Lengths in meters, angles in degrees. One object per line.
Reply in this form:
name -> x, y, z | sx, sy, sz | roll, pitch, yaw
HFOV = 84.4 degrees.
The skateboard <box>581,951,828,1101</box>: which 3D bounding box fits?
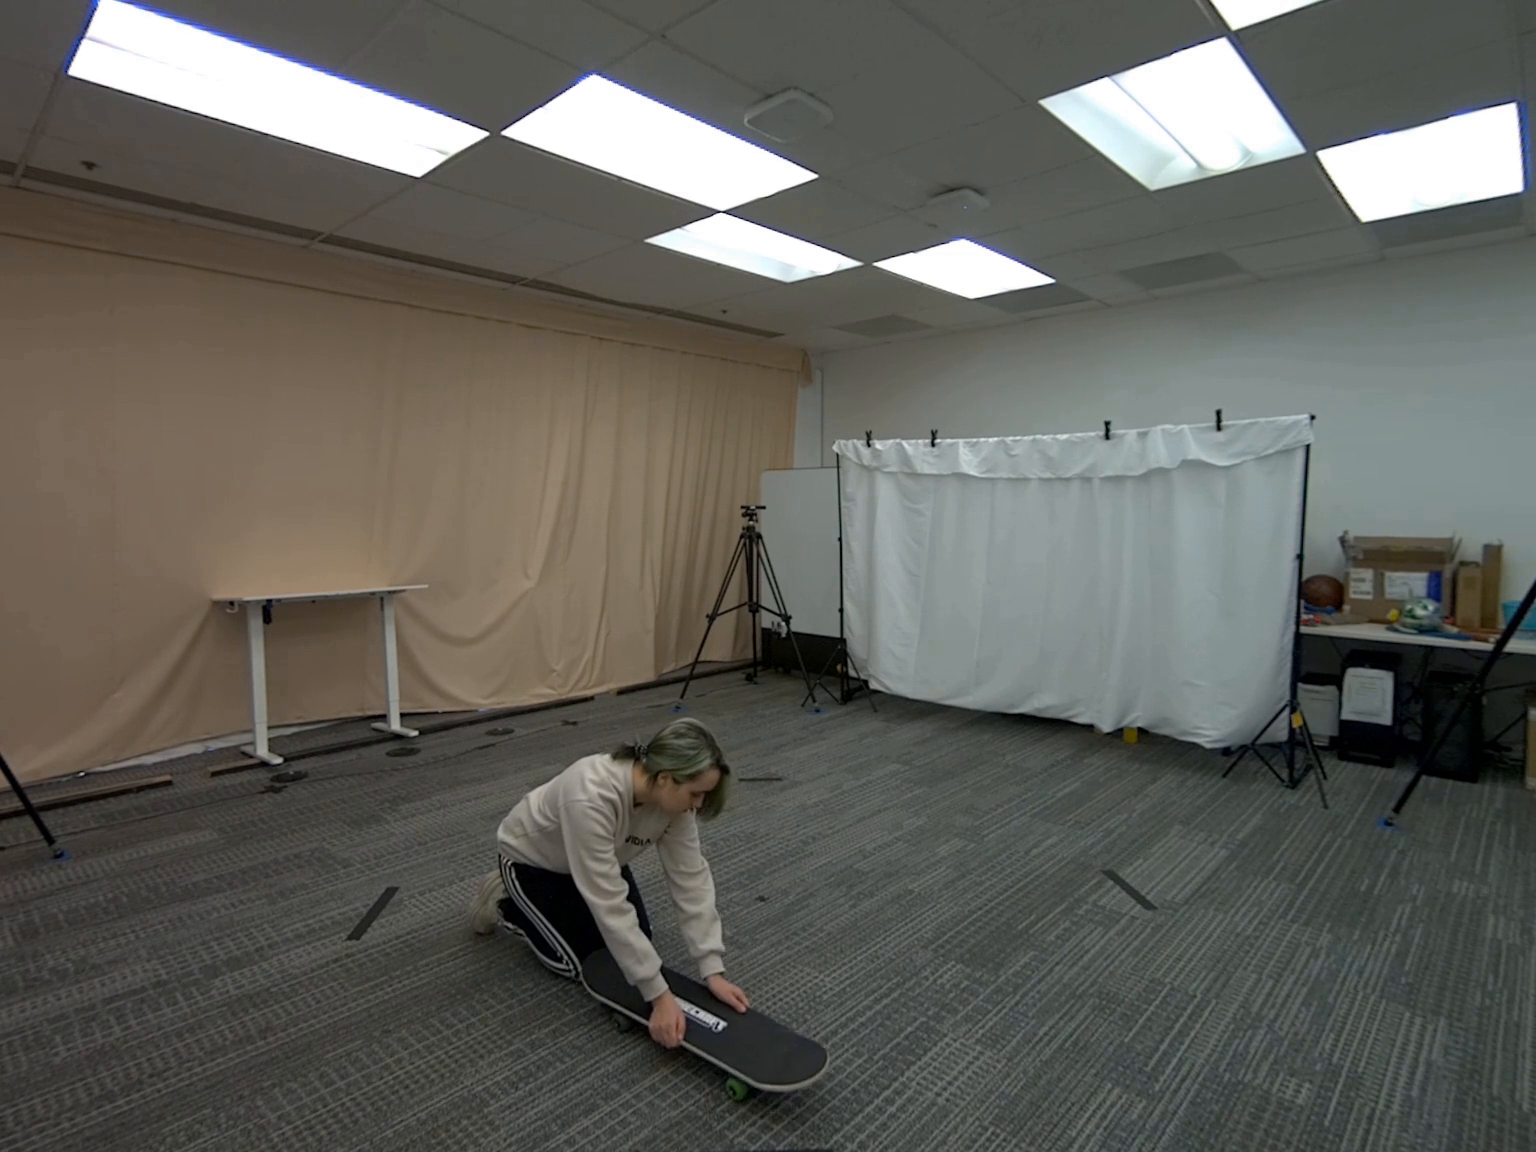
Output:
skateboard -> -0.183, 1.157, 2.158 | 0.811, 0.110, 0.188 | 3, 11, 39
